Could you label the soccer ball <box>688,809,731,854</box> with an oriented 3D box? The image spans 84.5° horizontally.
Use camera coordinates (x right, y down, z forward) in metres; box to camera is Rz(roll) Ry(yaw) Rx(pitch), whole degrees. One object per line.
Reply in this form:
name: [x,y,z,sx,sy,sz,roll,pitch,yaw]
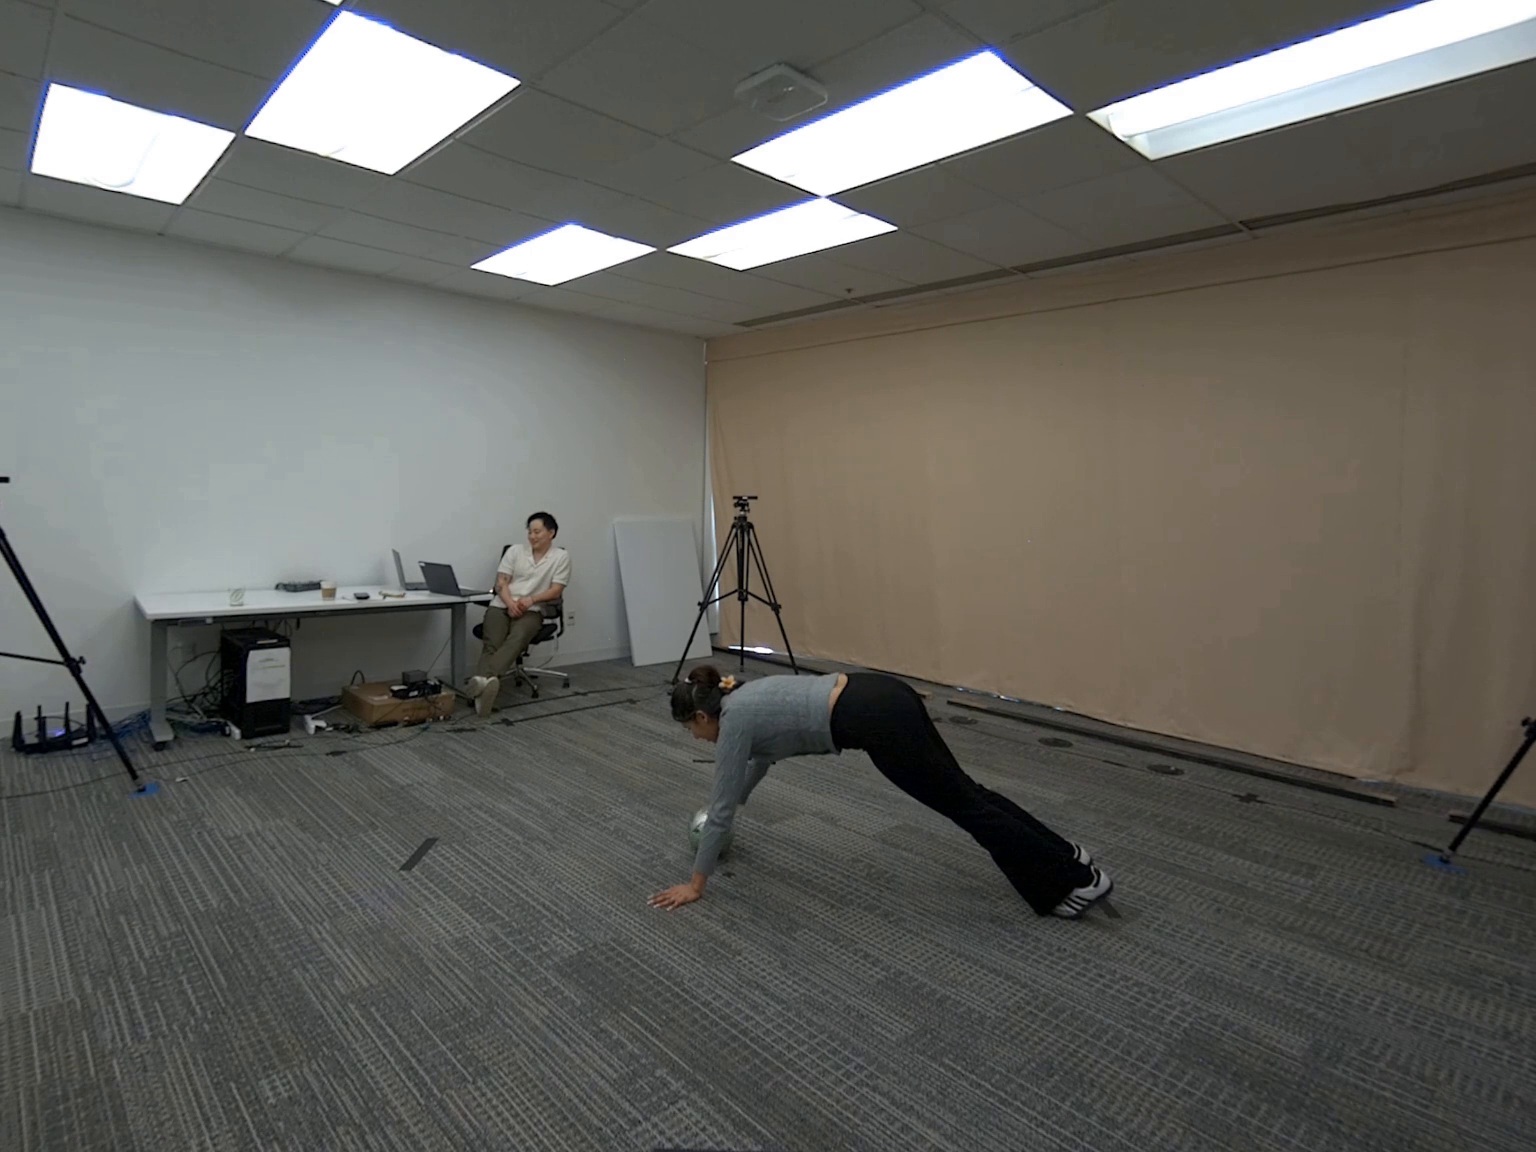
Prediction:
soccer ball: [-0.231,0.992,3.259,0.187,0.187,0.188,1,4,-1]
